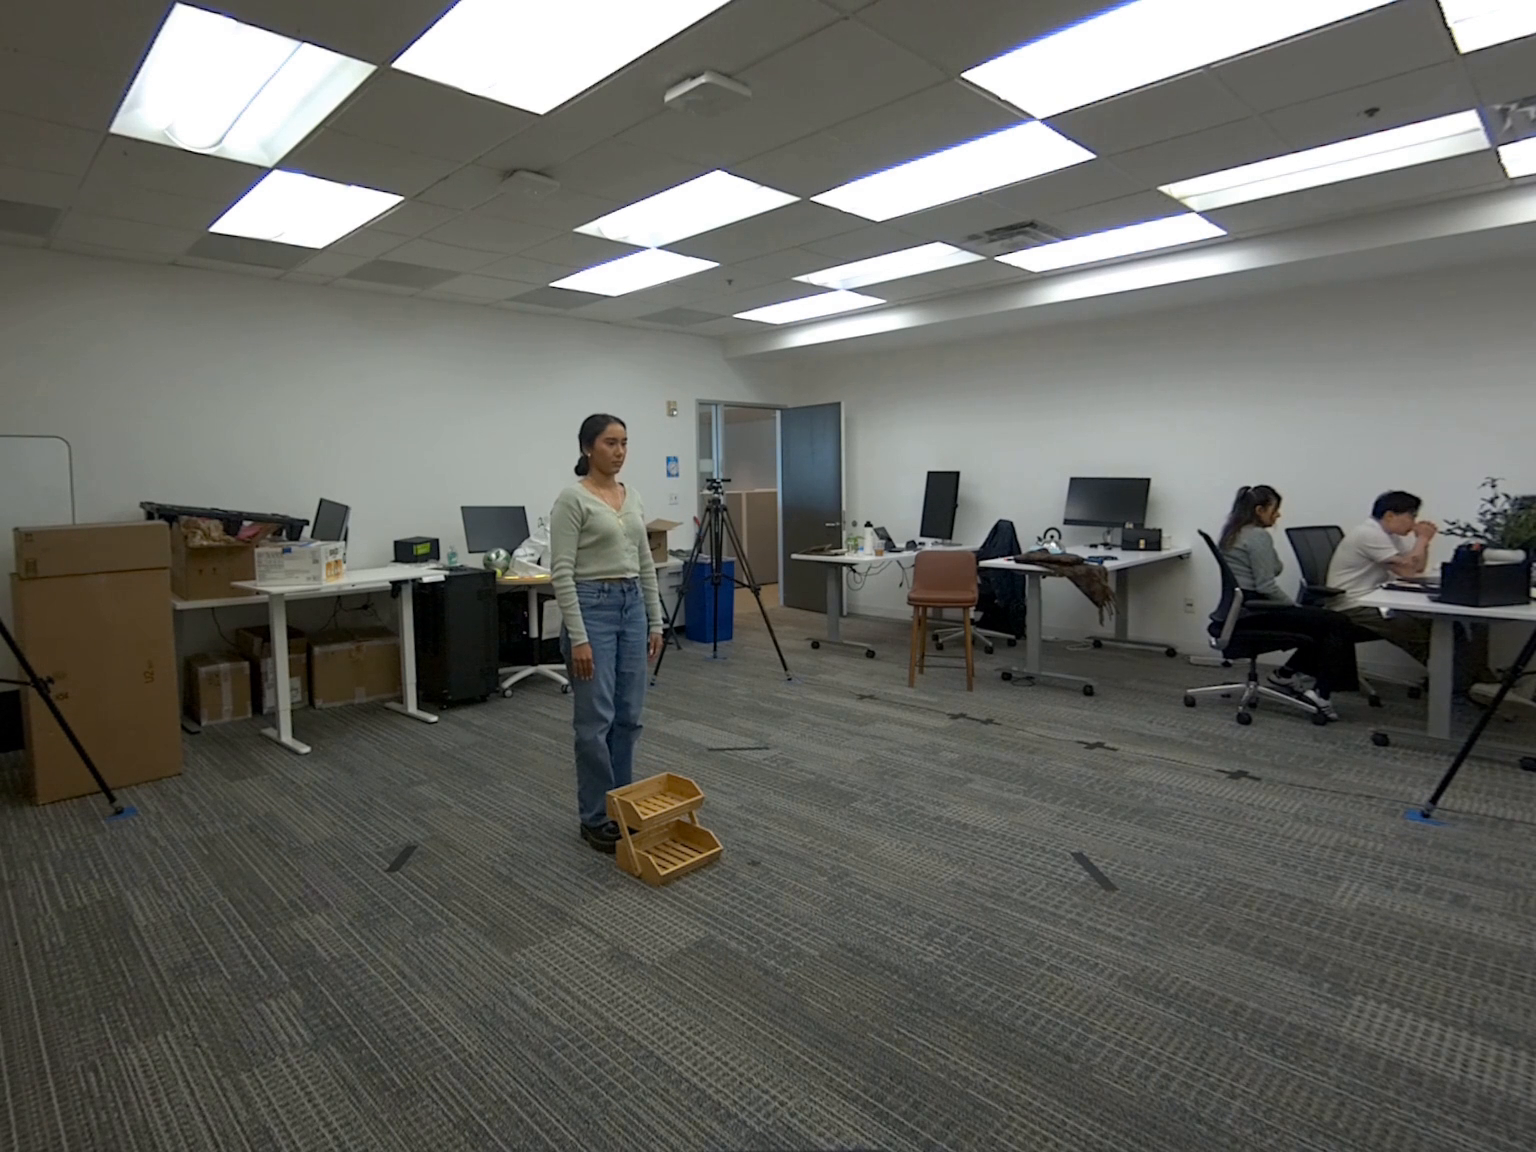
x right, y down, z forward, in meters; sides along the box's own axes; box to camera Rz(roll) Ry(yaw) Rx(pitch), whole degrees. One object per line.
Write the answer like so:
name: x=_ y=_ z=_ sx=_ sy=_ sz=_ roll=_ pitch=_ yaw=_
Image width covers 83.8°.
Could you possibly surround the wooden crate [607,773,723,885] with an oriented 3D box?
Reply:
wooden crate: x=-0.374 y=0.913 z=3.125 sx=0.311 sy=0.272 sz=0.316 roll=4 pitch=7 yaw=43
